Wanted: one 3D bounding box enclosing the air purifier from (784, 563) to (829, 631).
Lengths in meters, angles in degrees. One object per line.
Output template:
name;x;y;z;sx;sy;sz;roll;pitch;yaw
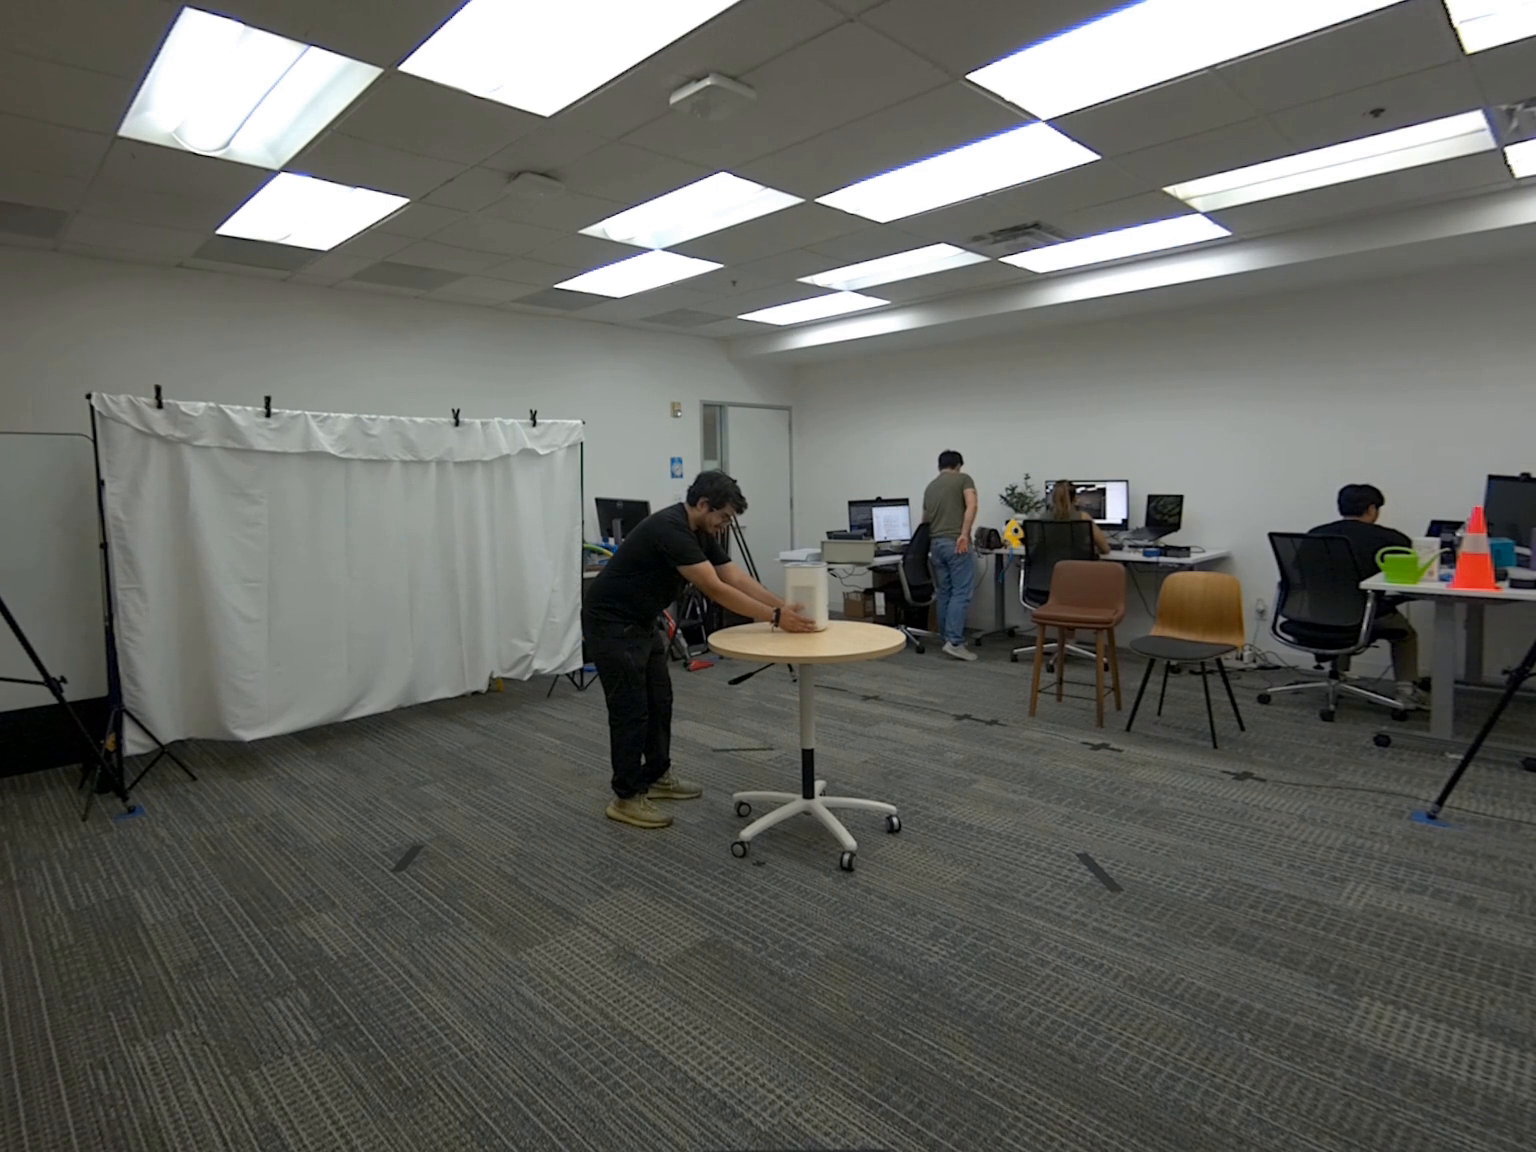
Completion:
air purifier;0.156;0.083;3.479;0.174;0.264;0.169;0;4;14
